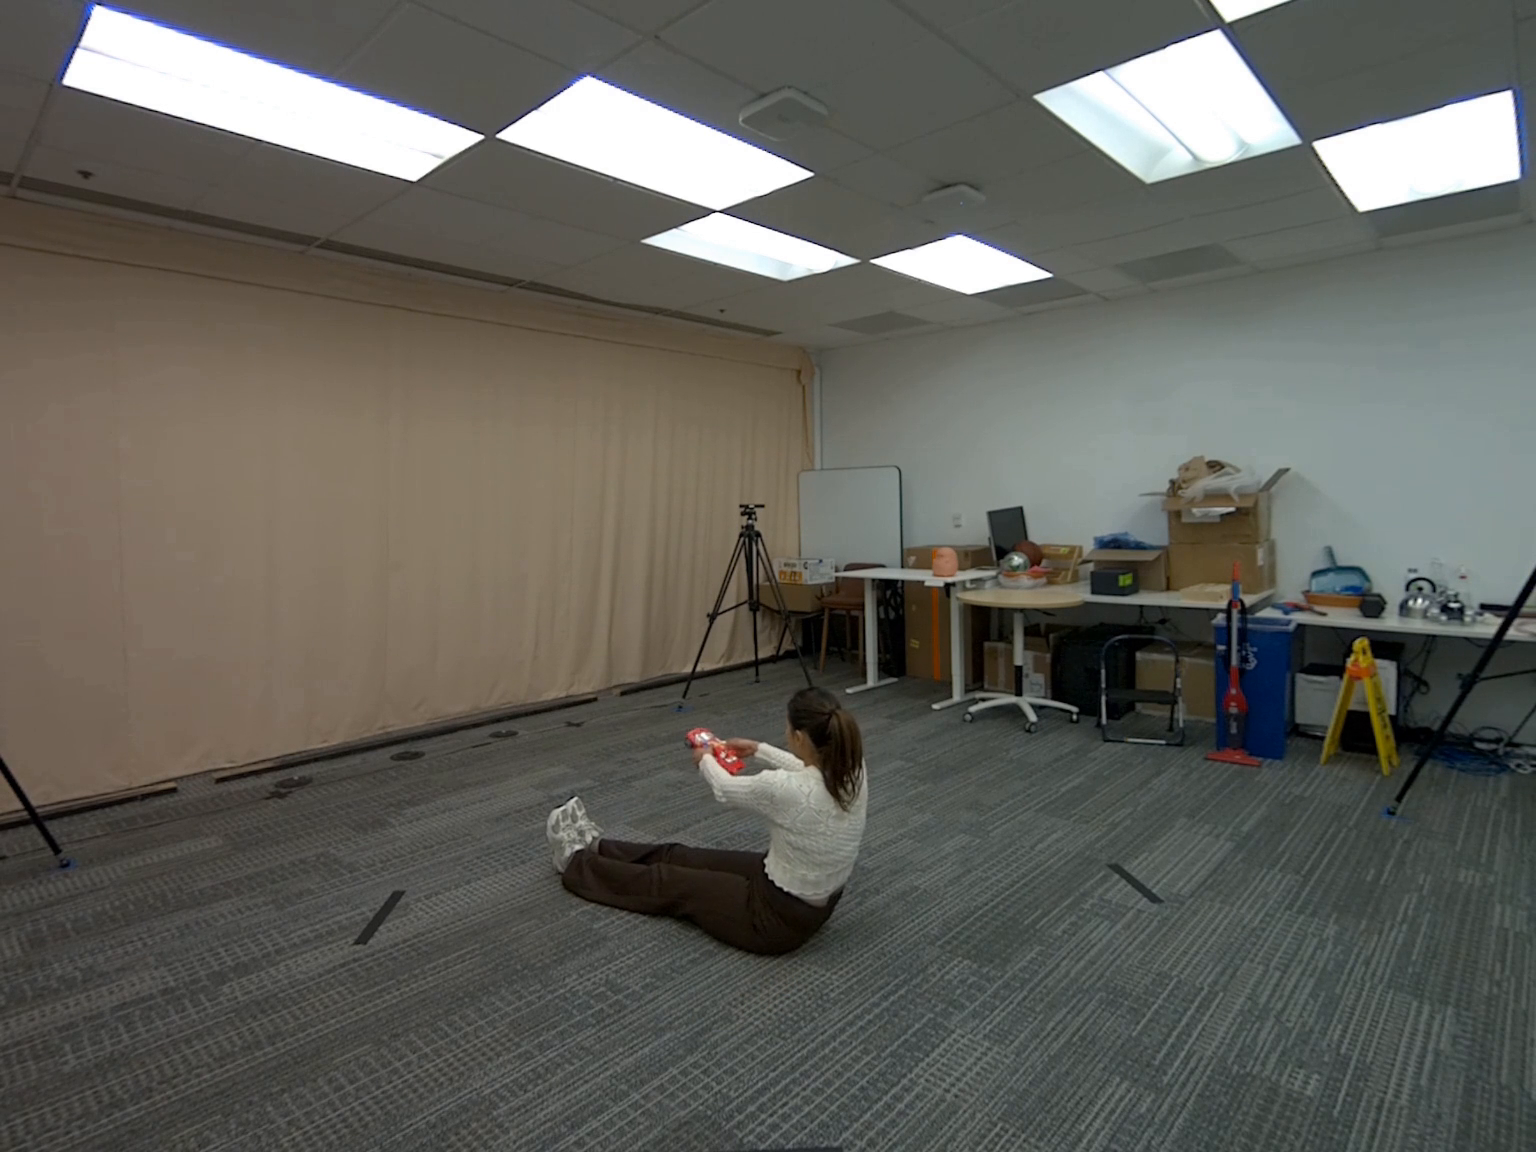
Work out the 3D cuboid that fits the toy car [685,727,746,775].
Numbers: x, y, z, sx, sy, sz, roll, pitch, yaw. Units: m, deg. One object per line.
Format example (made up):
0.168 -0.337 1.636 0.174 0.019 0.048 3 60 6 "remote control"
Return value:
-0.189 0.669 3.153 0.264 0.082 0.126 25 23 37 "toy car"
